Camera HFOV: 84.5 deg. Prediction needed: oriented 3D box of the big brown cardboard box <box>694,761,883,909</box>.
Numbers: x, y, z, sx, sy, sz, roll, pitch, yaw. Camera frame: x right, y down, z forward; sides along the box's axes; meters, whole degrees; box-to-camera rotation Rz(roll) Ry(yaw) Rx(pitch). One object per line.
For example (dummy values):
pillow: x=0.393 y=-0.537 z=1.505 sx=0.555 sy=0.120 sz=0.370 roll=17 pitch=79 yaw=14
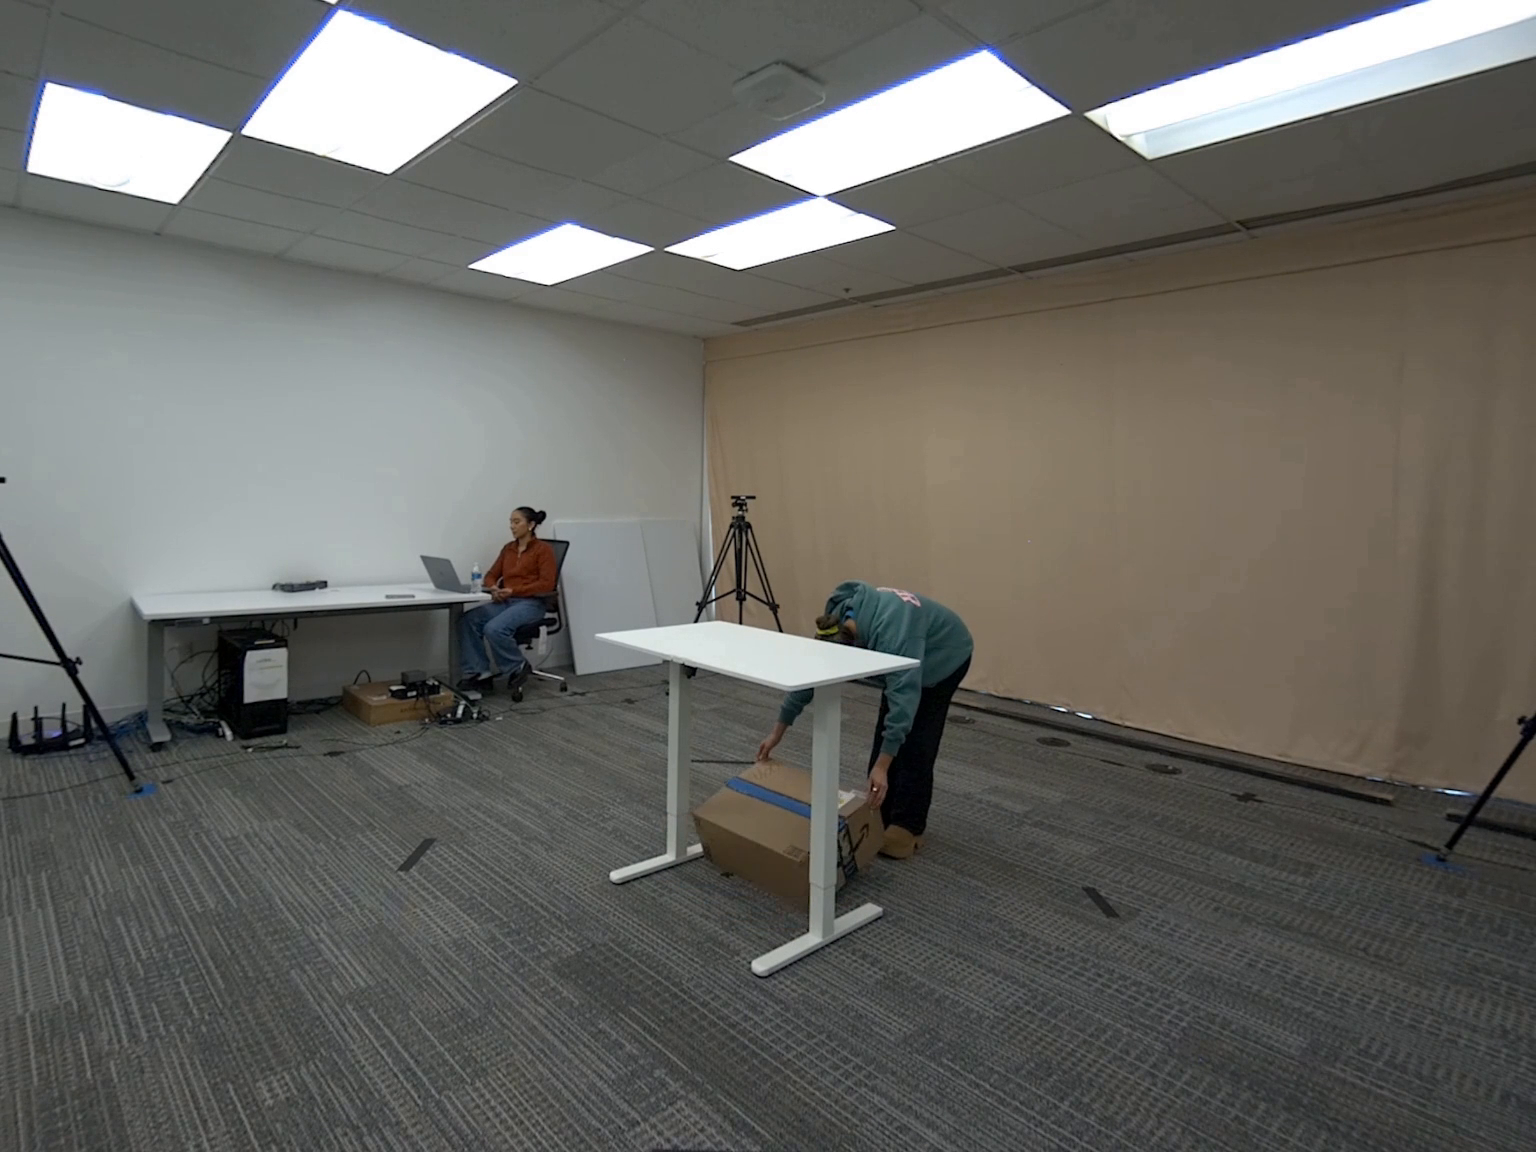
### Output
big brown cardboard box: x=0.068 y=0.934 z=3.117 sx=0.604 sy=0.229 sz=0.413 roll=5 pitch=26 yaw=46
